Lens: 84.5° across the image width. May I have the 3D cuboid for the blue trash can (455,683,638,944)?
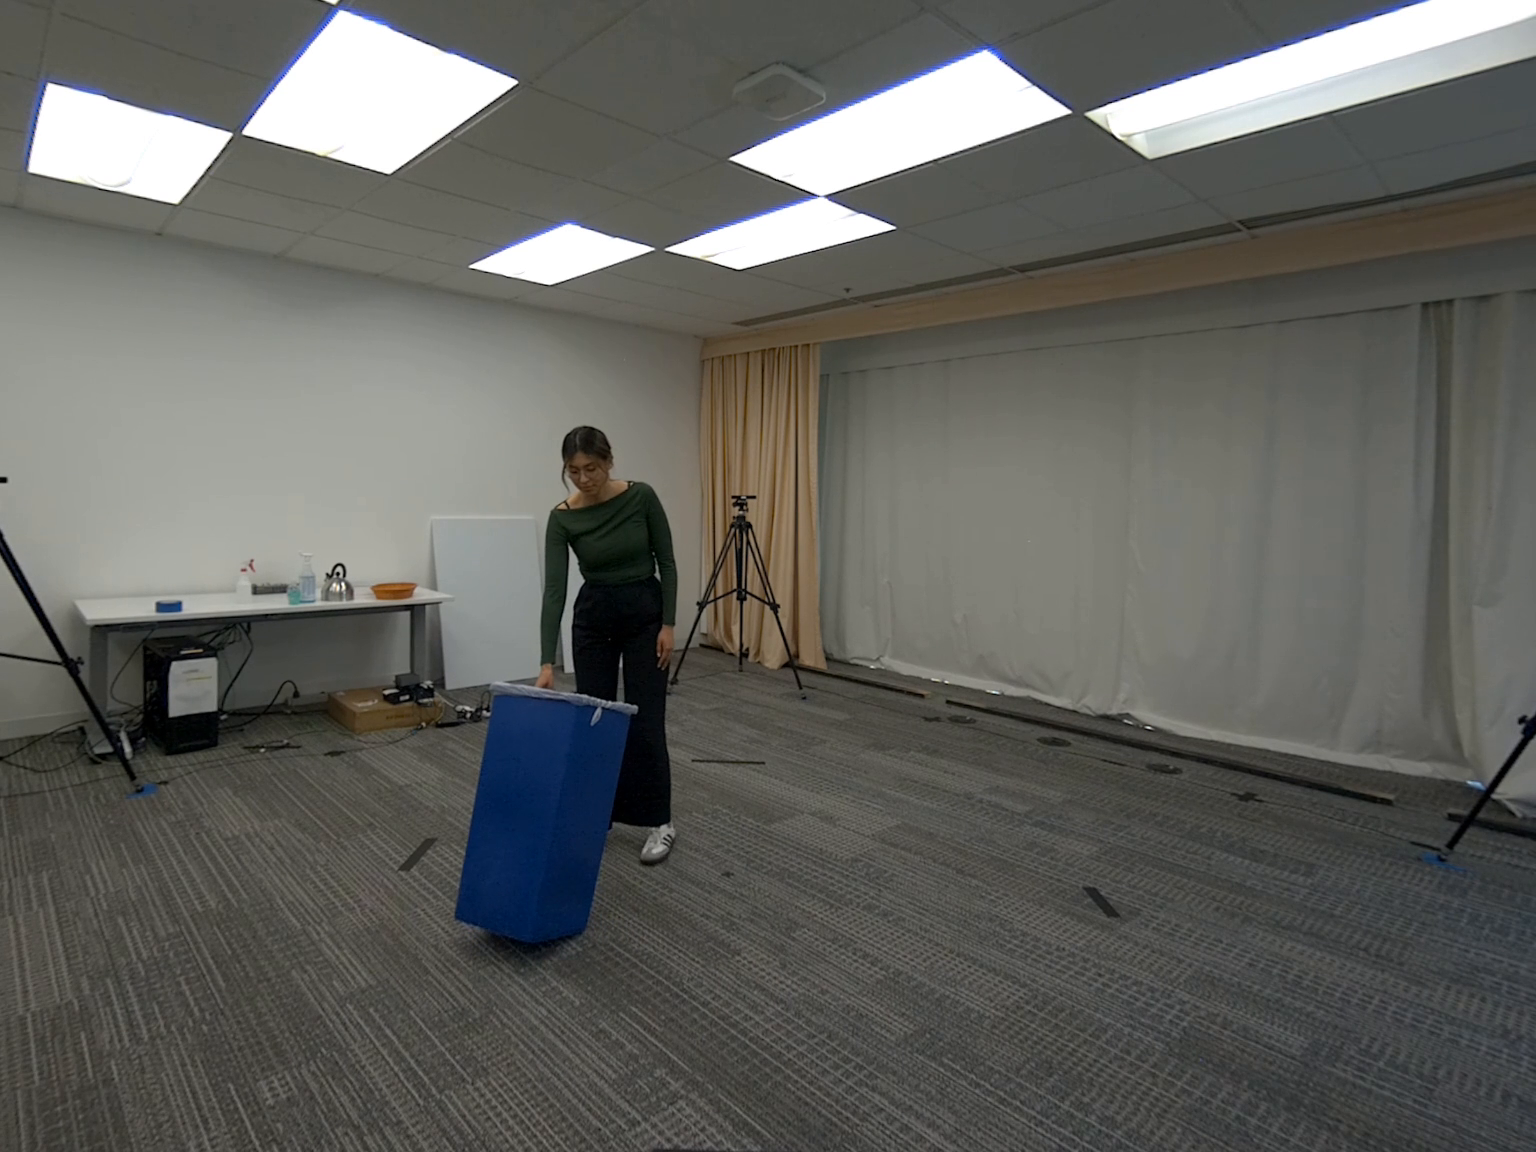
[{"bbox_3d":[-0.728,0.744,2.691,0.385,0.719,0.364,2,-15,24],"label":"blue trash can"}]
